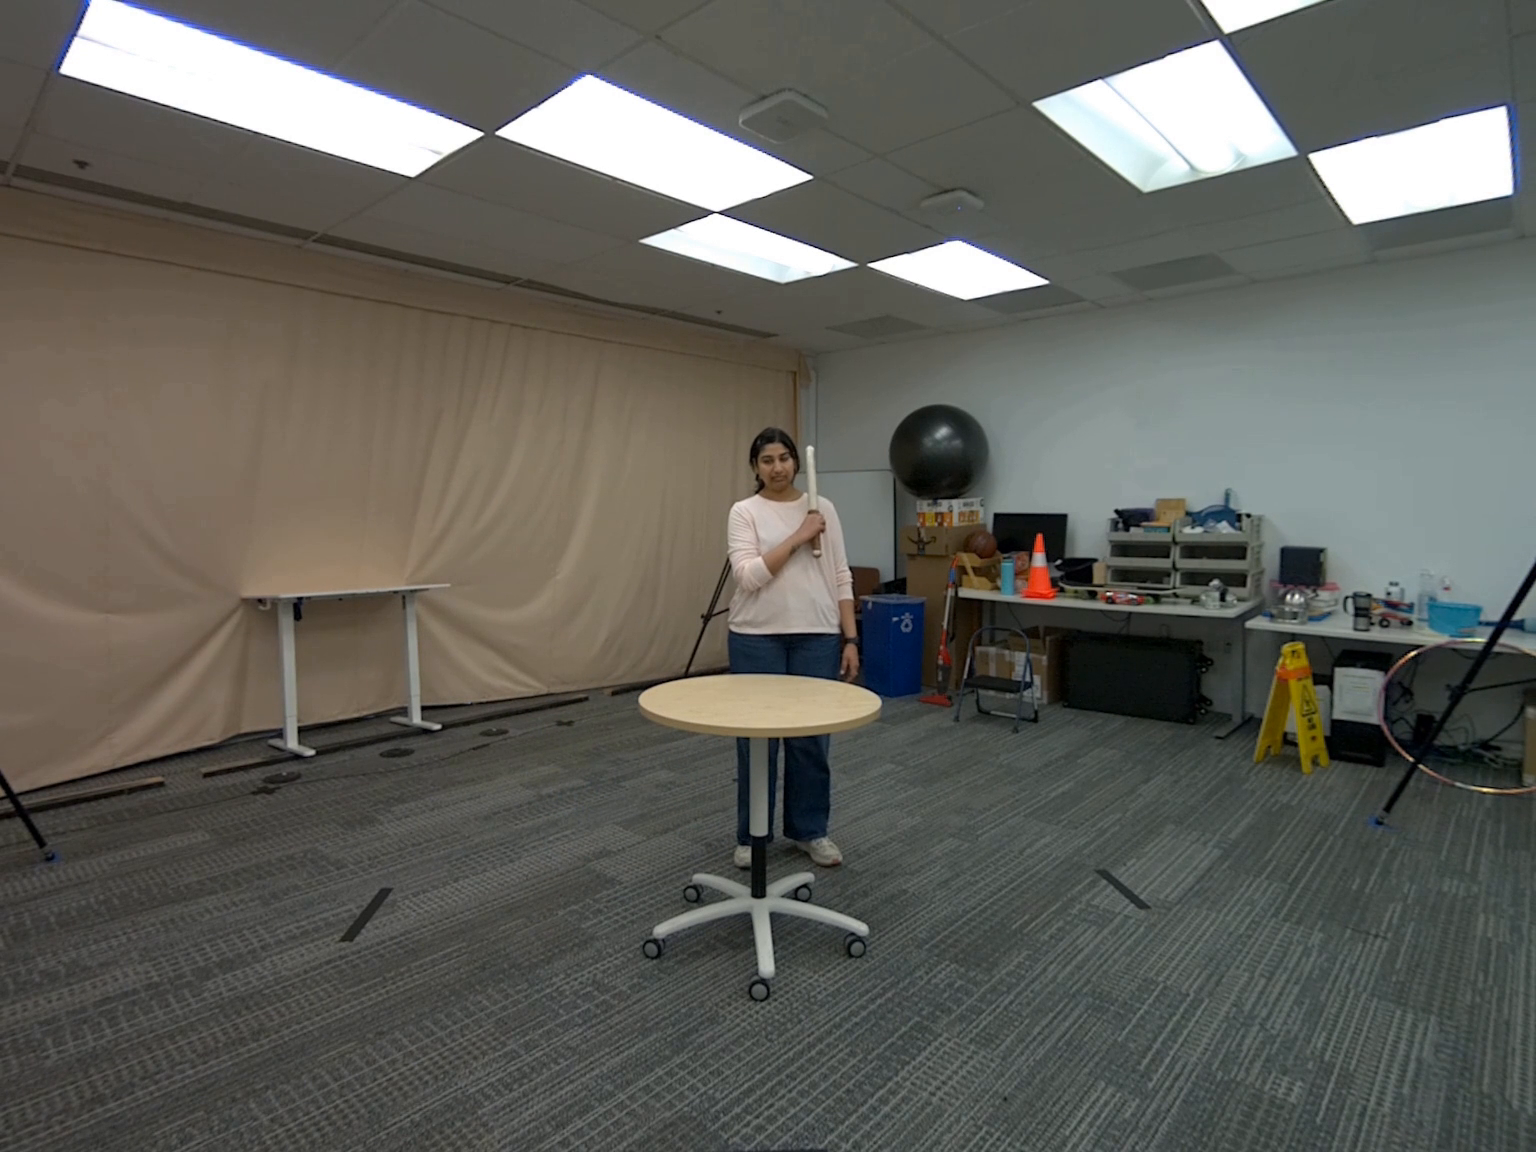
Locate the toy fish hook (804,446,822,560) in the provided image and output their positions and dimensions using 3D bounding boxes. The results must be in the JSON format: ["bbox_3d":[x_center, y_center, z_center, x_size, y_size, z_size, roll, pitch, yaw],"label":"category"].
[{"bbox_3d":[0.177,-0.274,3.321,0.048,0.514,0.220,-2,-27,3],"label":"toy fish hook"}]
